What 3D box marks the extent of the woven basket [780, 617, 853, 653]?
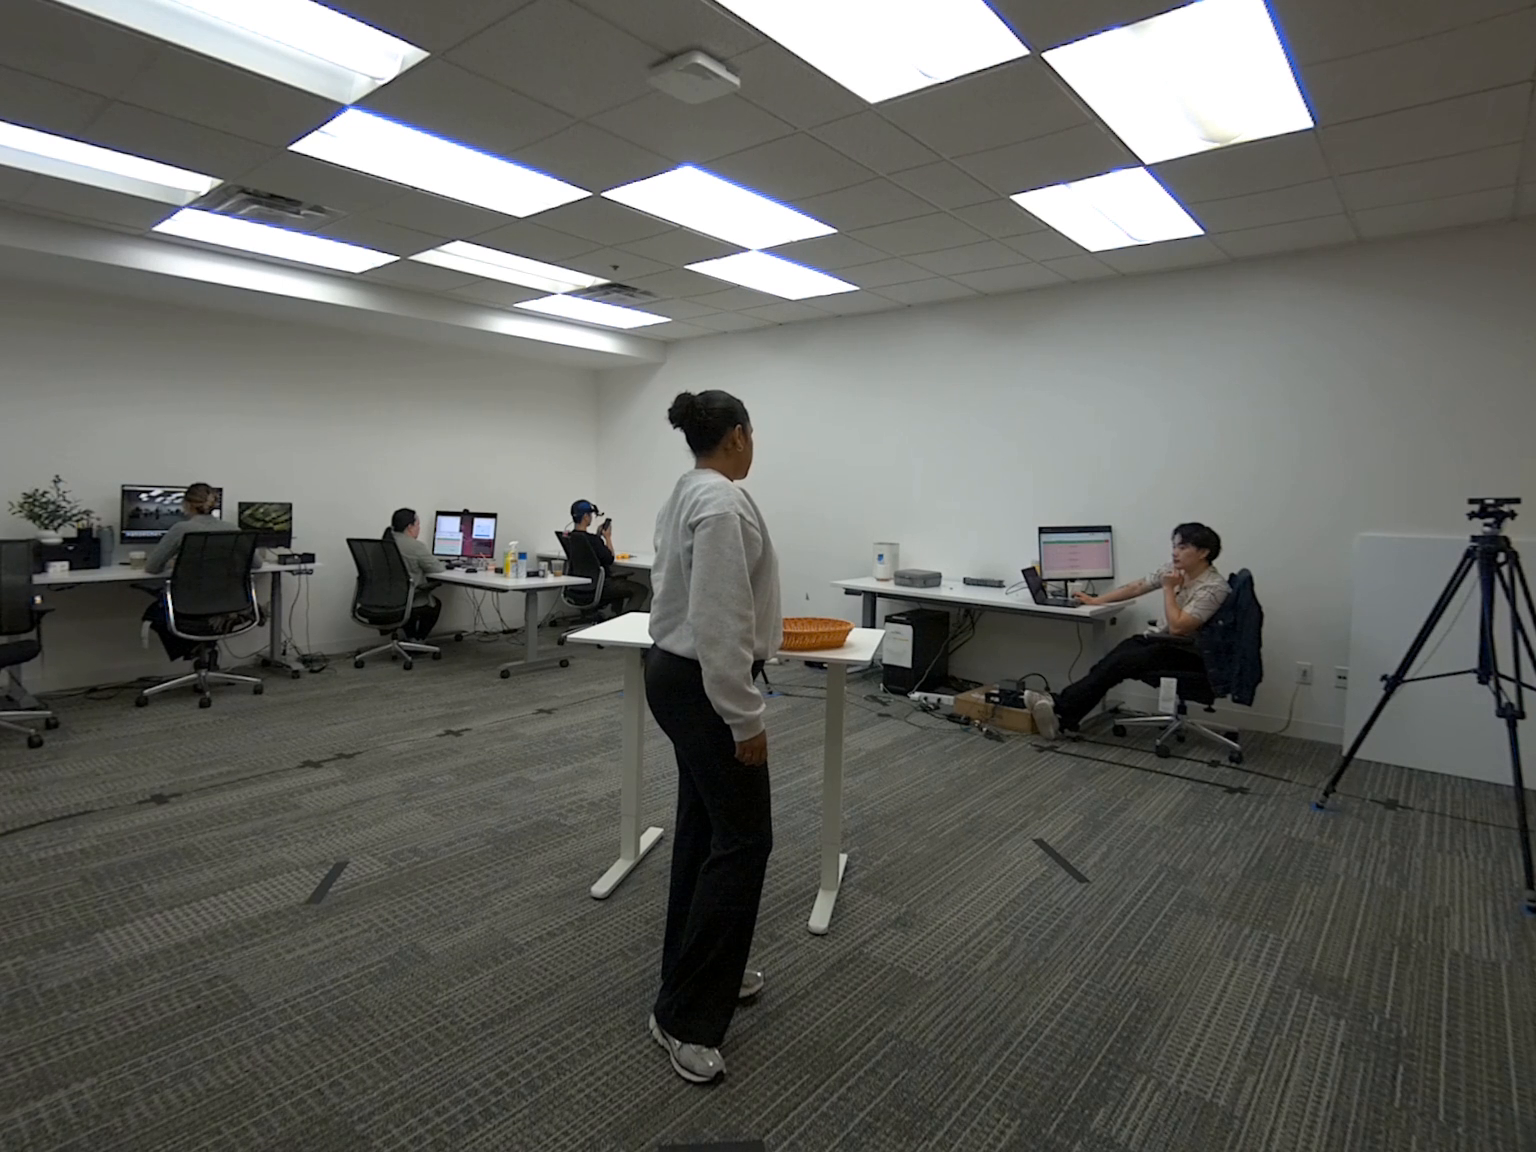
[{"bbox_3d":[0.118,0.193,2.798,0.343,0.073,0.259,-1,6,-21],"label":"woven basket"}]
